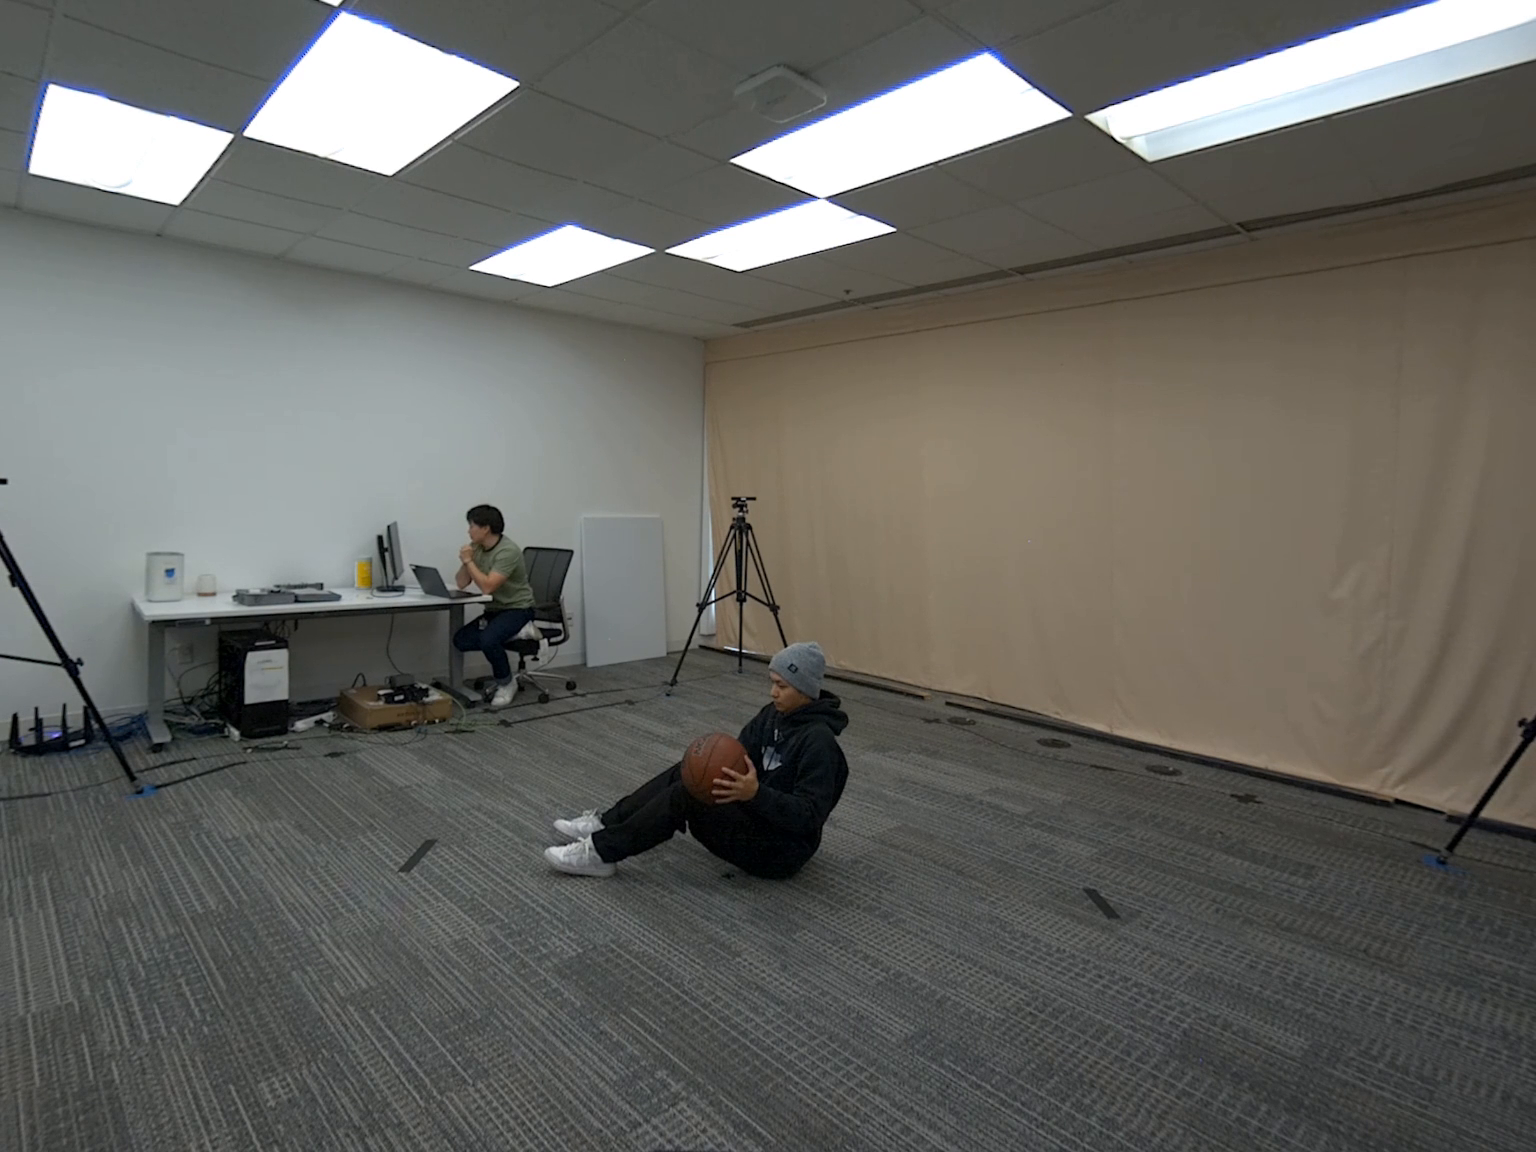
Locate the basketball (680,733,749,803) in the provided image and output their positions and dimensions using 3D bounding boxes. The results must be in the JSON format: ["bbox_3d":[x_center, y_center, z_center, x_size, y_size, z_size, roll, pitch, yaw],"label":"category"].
[{"bbox_3d":[-0.185,0.656,2.891,0.236,0.235,0.237,1,4,-1],"label":"basketball"}]
